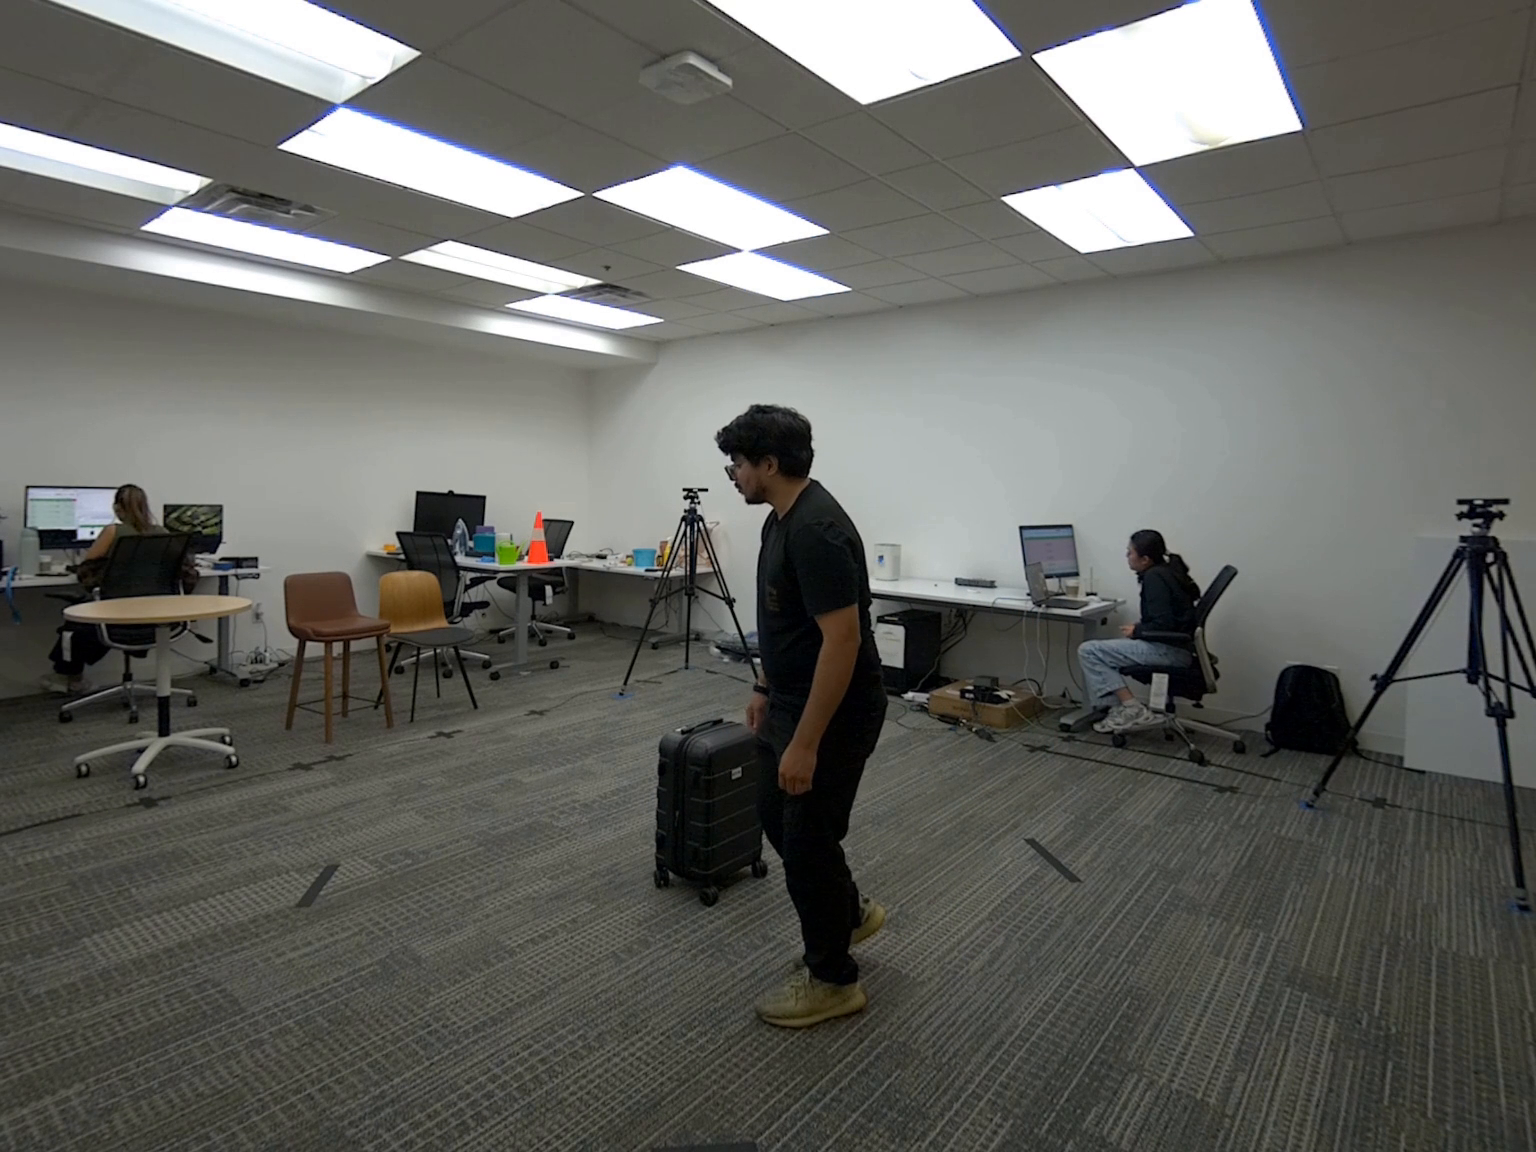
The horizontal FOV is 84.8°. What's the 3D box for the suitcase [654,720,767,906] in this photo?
[{"bbox_3d":[-0.211,0.802,3.028,0.256,0.548,0.364,2,3,36],"label":"suitcase"}]
